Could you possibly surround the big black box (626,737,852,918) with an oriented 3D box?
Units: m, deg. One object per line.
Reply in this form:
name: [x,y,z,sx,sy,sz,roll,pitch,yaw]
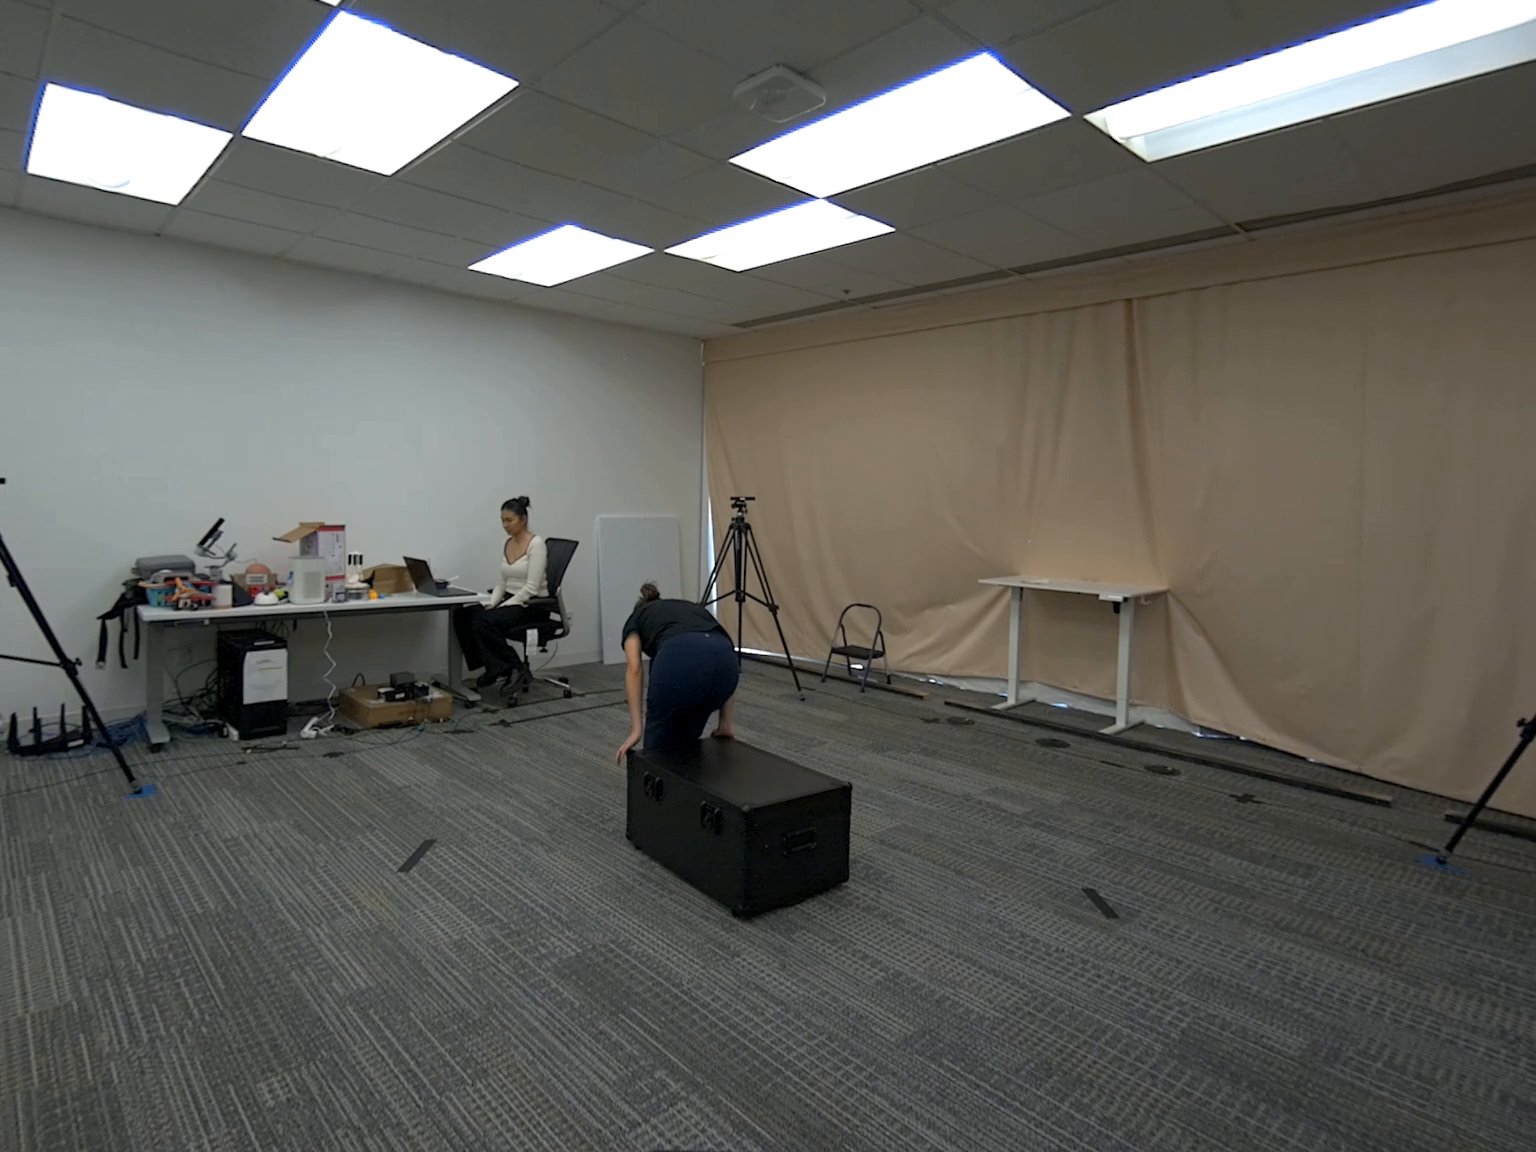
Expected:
big black box: [-0.121,0.916,3.147,0.510,0.395,0.883,-2,5,-38]
